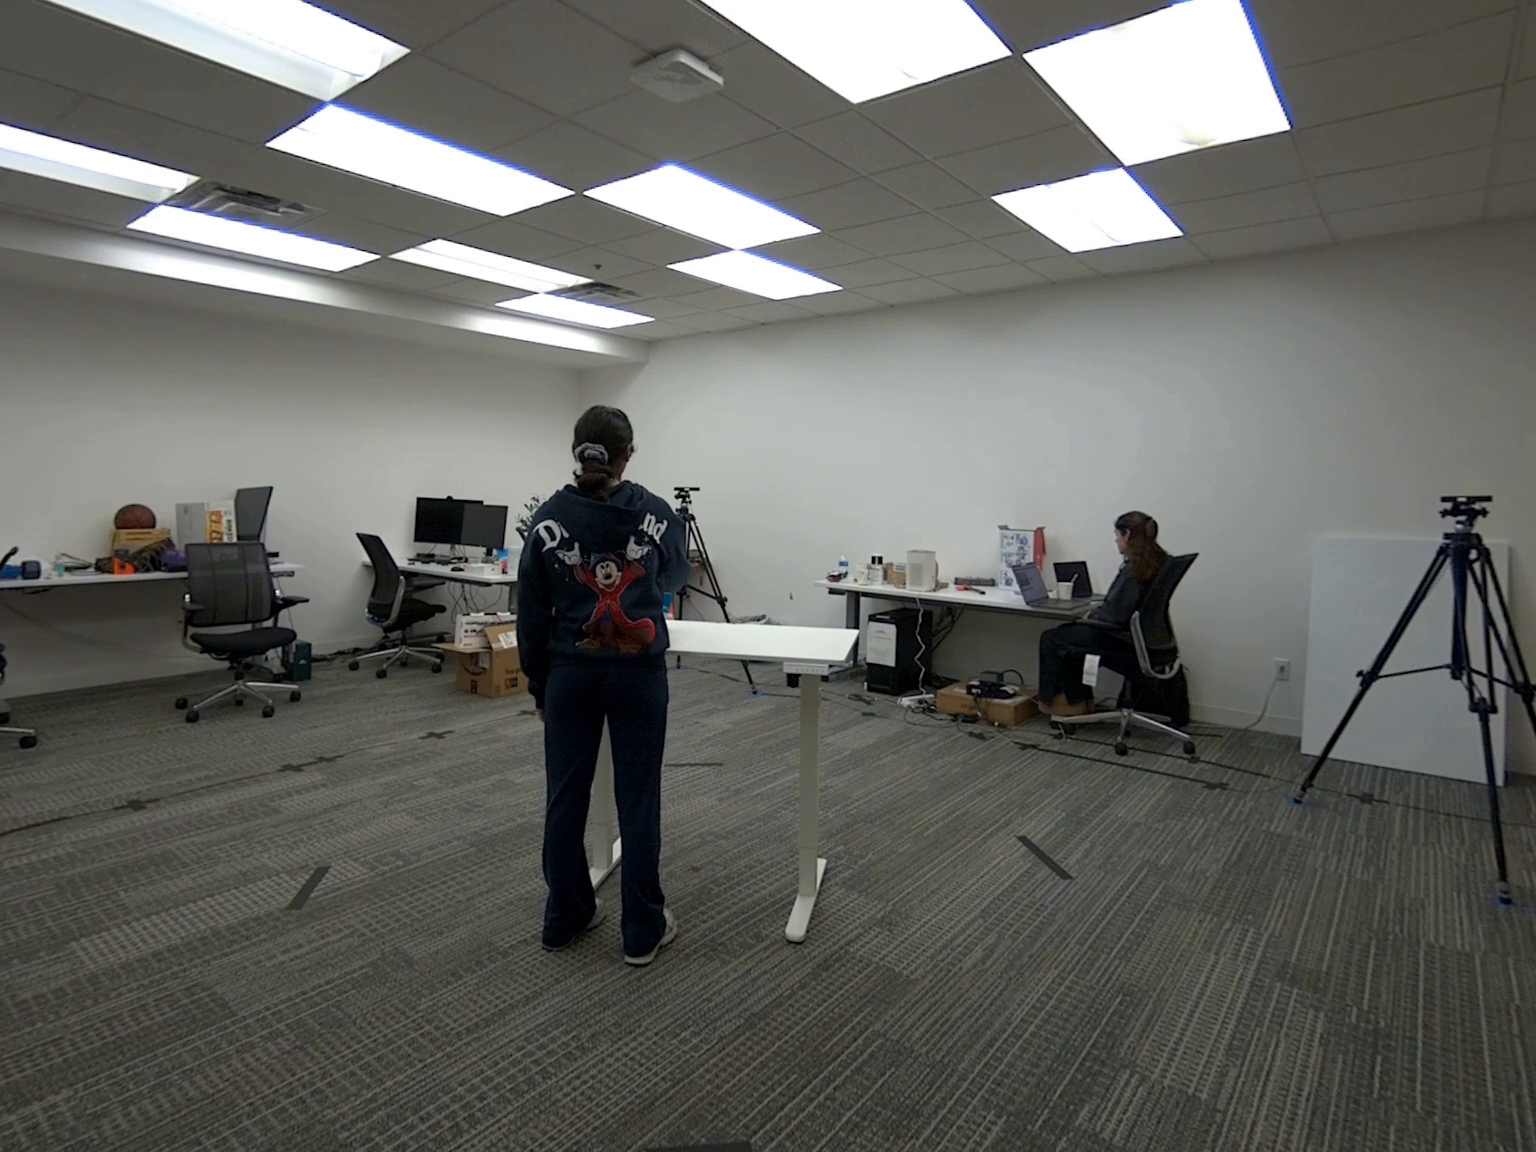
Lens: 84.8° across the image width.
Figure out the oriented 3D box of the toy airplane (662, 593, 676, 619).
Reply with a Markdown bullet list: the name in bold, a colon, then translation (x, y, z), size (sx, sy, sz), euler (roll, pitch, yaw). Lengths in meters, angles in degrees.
- **toy airplane**: translation (-0.485, 0.114, 3.046), size (0.251, 0.156, 0.259), euler (-3, 6, -41)
